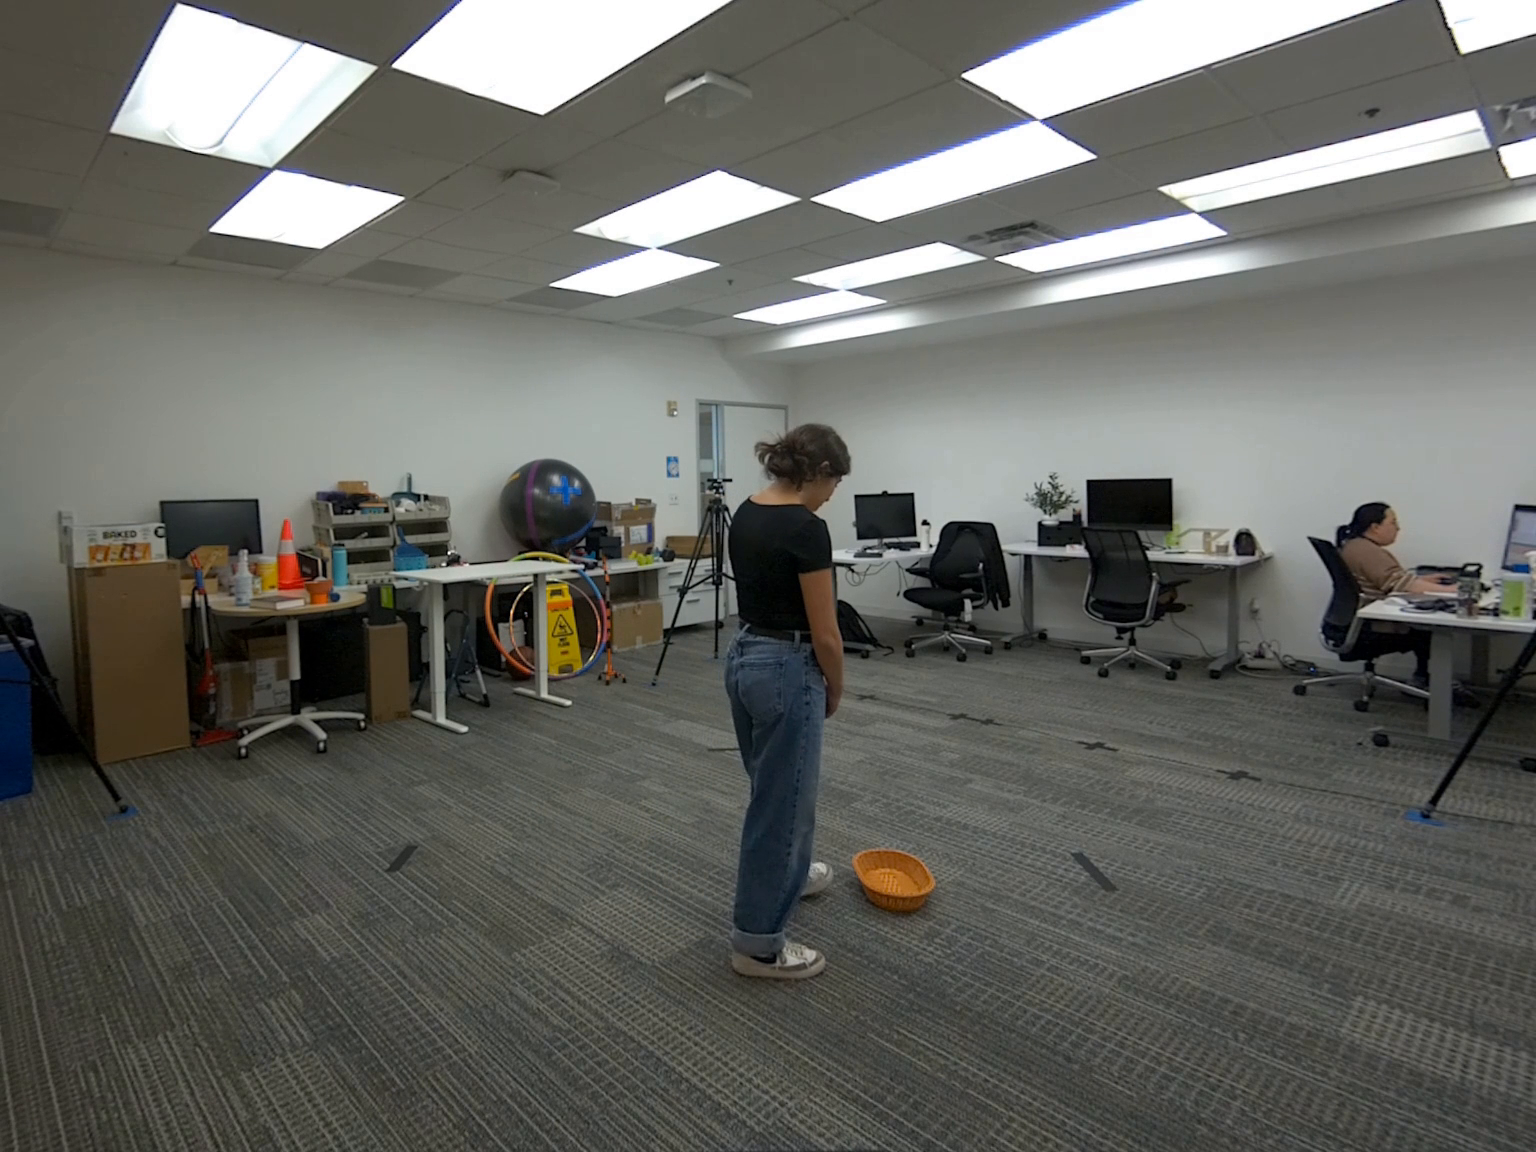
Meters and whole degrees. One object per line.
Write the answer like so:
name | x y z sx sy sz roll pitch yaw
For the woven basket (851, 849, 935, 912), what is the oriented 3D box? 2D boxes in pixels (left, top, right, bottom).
woven basket | 0.424 1.025 2.880 0.251 0.073 0.353 0 6 -4
